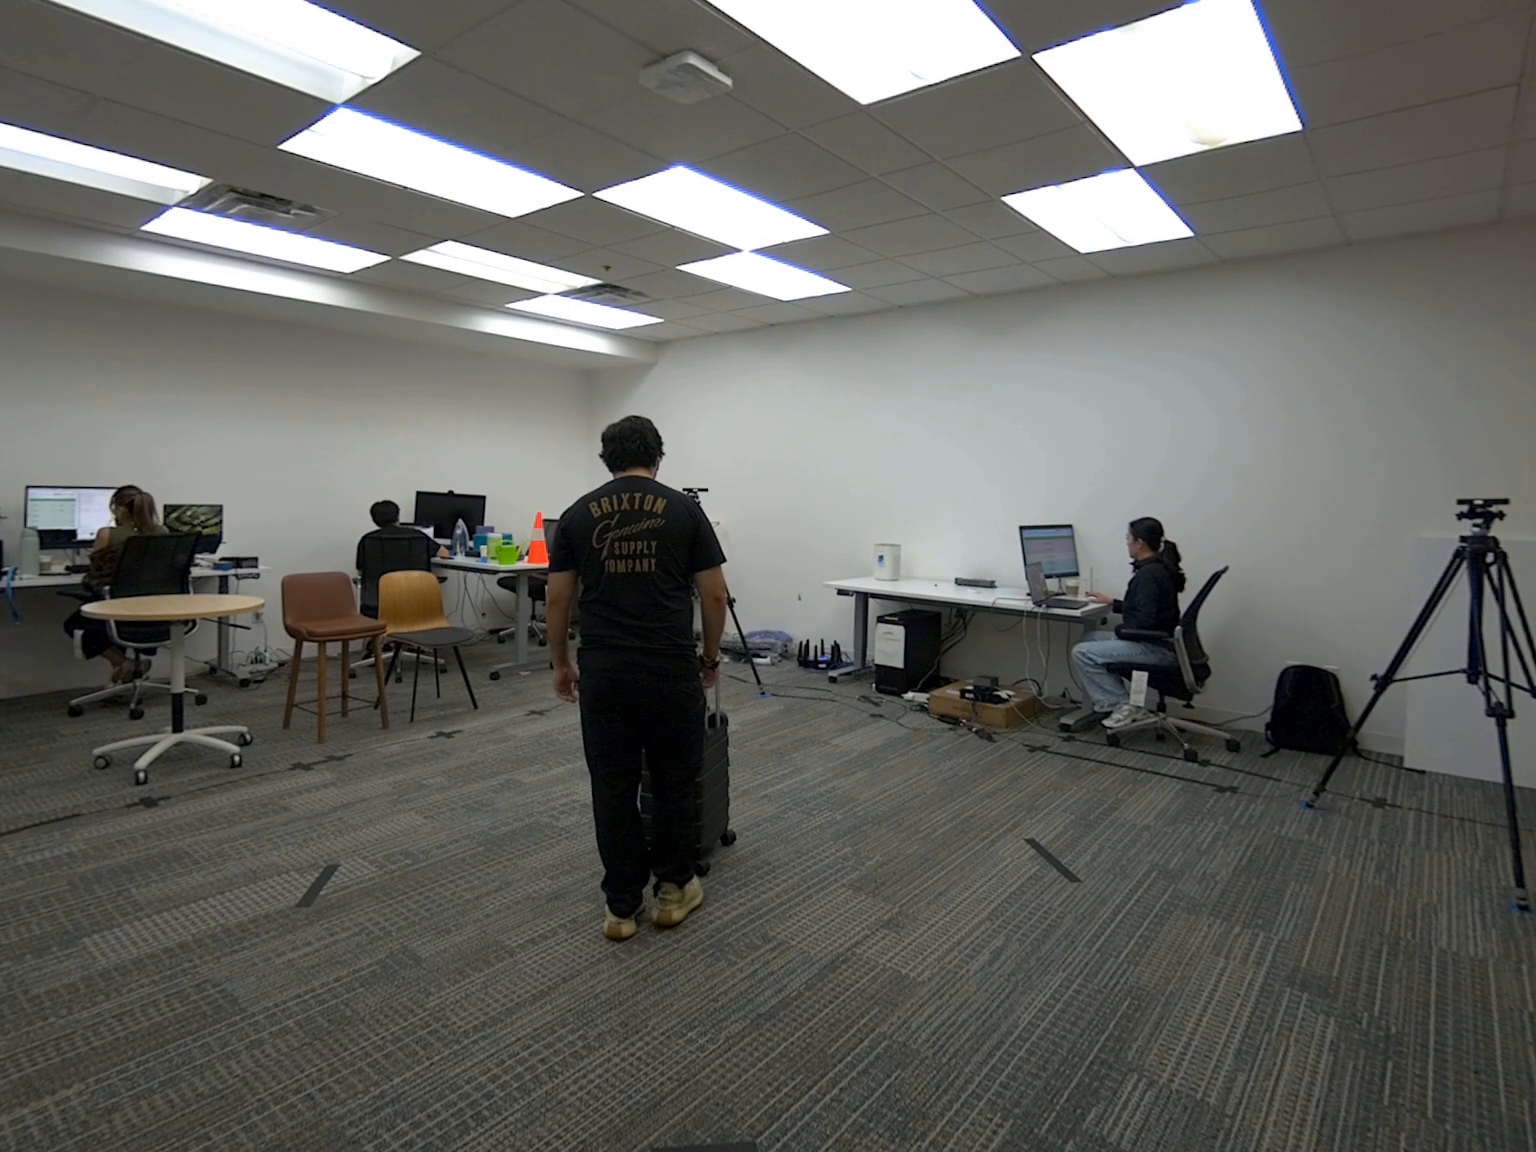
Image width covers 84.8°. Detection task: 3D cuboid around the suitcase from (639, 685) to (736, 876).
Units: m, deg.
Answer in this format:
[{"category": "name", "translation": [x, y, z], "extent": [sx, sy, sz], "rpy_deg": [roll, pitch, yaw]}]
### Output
[{"category": "suitcase", "translation": [-0.327, 0.581, 3.232], "extent": [0.262, 0.977, 0.378], "rpy_deg": [-2, 2, 17]}]
